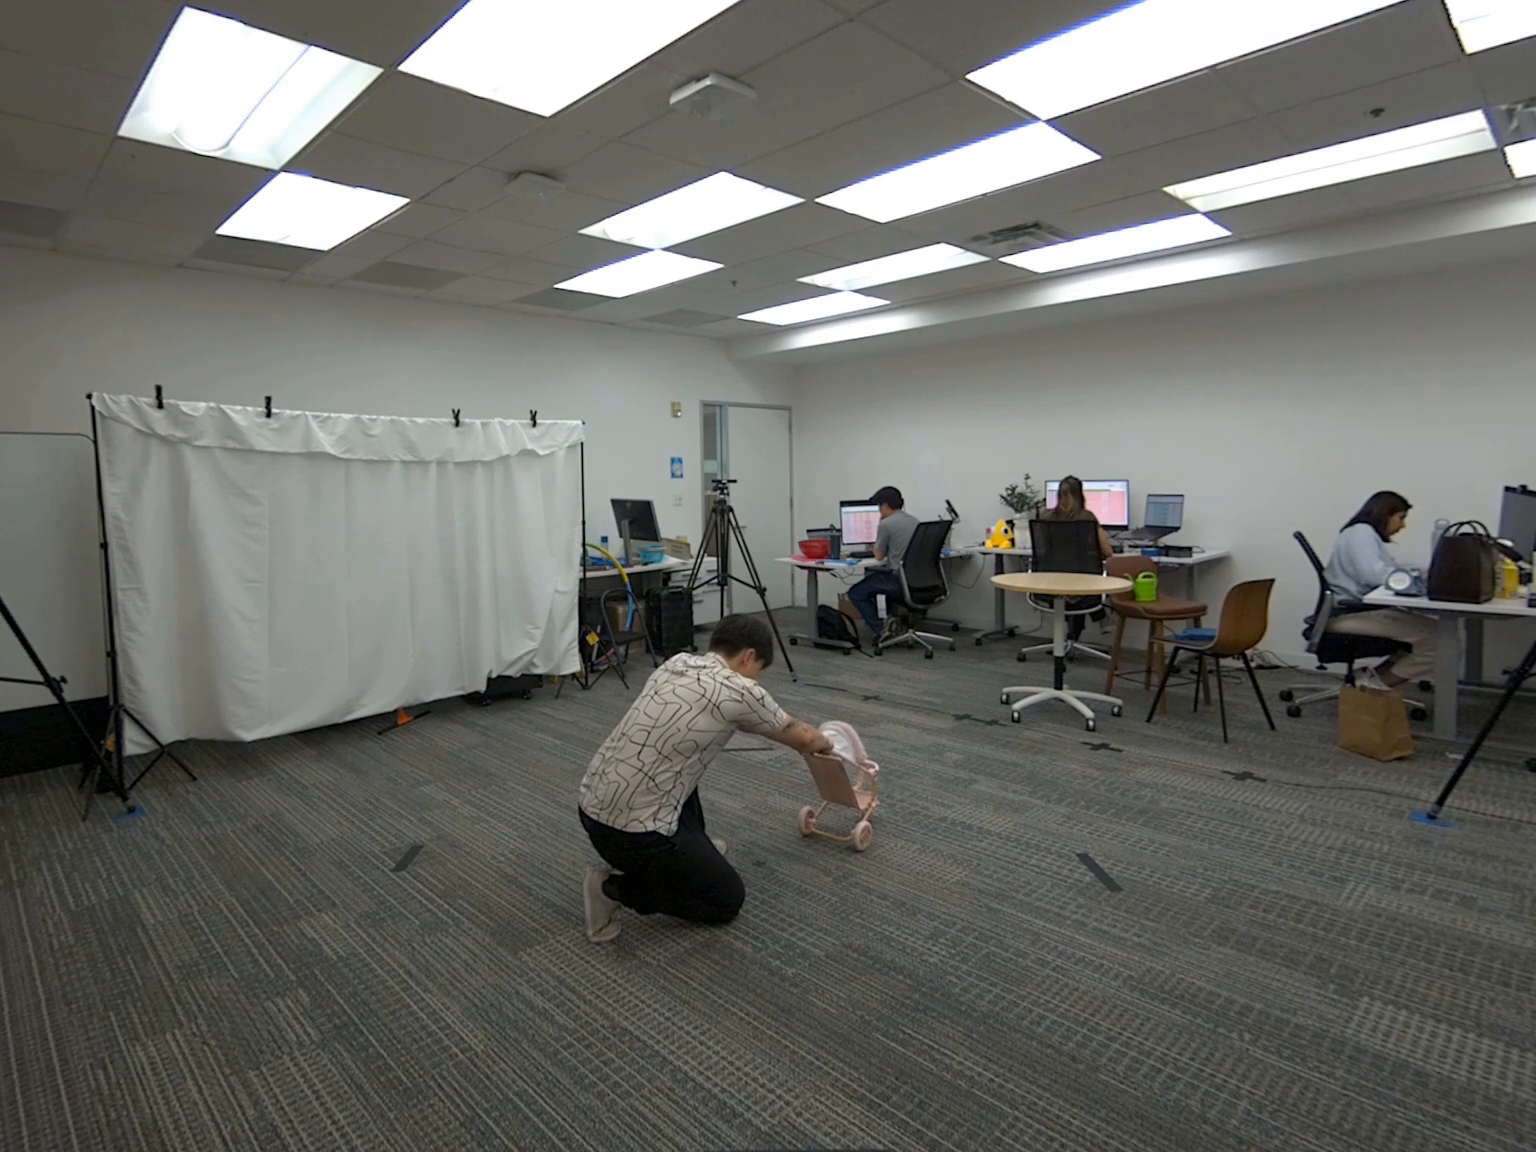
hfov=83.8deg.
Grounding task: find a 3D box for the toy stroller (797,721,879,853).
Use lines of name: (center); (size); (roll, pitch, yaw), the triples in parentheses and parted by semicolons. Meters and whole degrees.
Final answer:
toy stroller: (0.287, 0.792, 3.318); (0.290, 0.526, 0.337); (3, 22, 42)
